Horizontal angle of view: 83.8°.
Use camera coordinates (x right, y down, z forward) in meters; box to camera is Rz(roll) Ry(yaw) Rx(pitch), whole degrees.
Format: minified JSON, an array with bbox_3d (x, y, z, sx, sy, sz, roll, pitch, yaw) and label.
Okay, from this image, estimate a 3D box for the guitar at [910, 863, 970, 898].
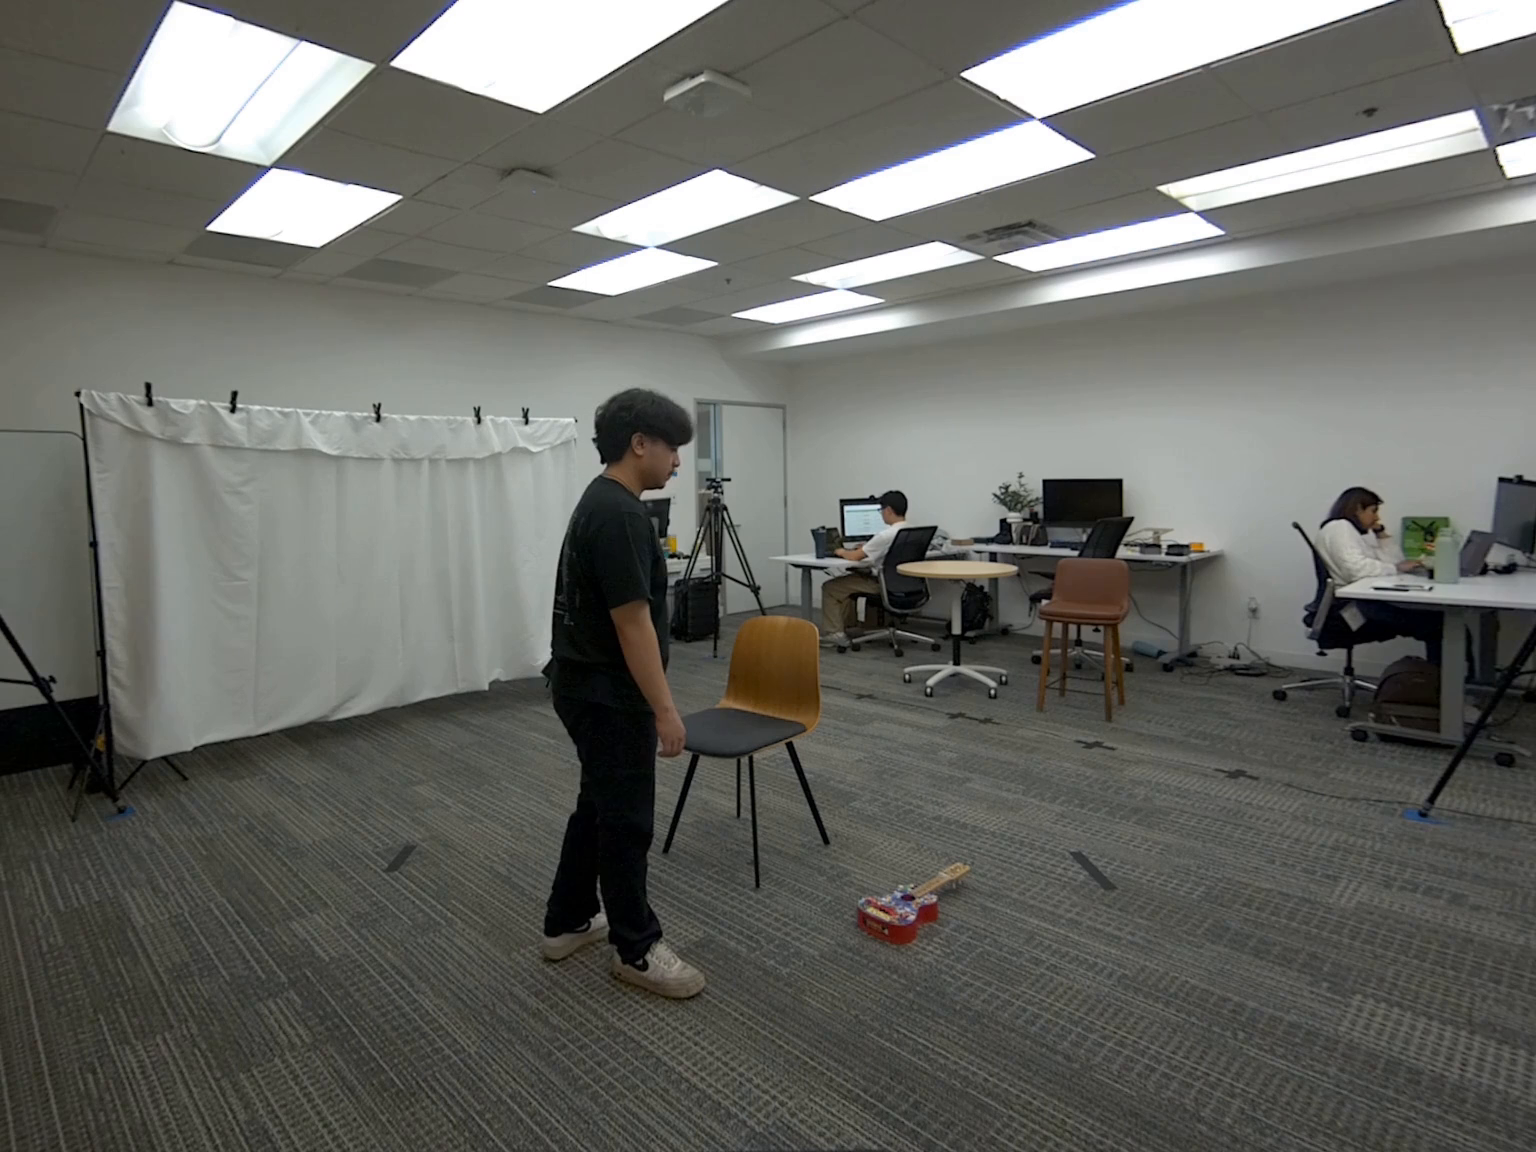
[{"bbox_3d":[0.520,1.042,2.732,0.486,0.070,0.198,-6,7,-33],"label":"guitar"}]
